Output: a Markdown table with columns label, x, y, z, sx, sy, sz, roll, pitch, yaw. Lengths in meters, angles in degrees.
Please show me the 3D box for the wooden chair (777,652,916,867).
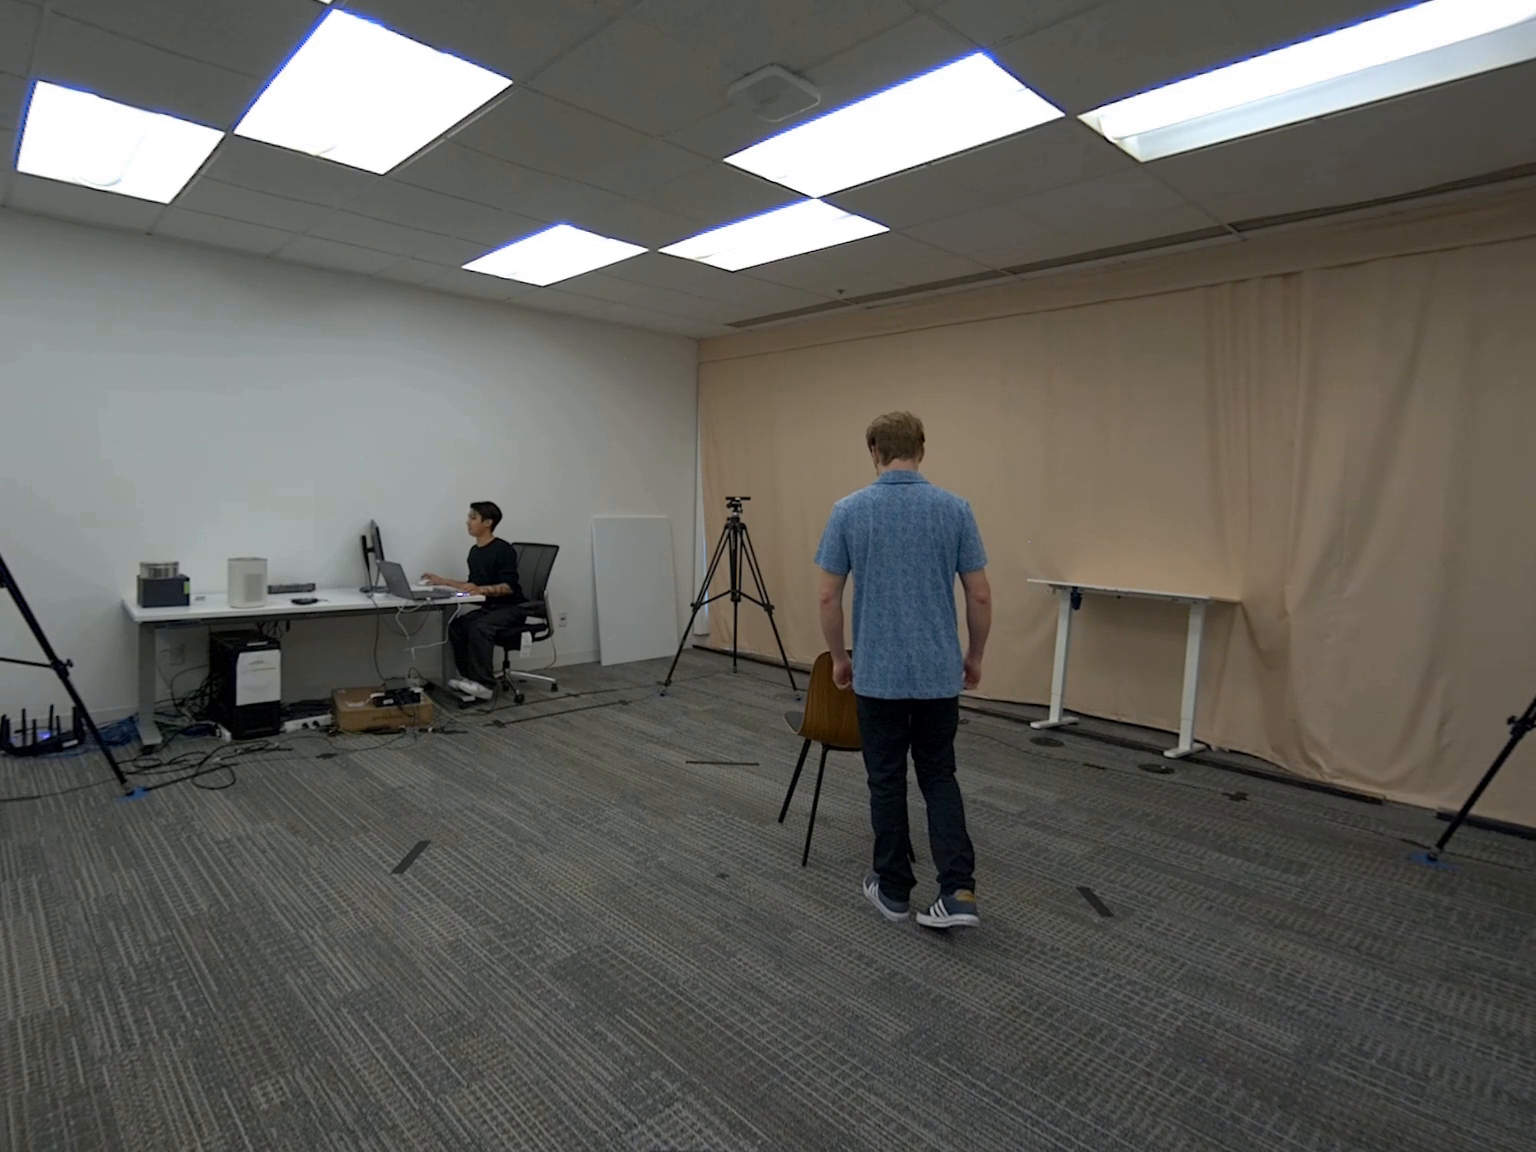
| label | x | y | z | sx | sy | sz | roll | pitch | yaw |
| --- | --- | --- | --- | --- | --- | --- | --- | --- | --- |
| wooden chair | 0.304 | 0.658 | 3.429 | 0.474 | 0.873 | 0.530 | 1 | 7 | -11 |
